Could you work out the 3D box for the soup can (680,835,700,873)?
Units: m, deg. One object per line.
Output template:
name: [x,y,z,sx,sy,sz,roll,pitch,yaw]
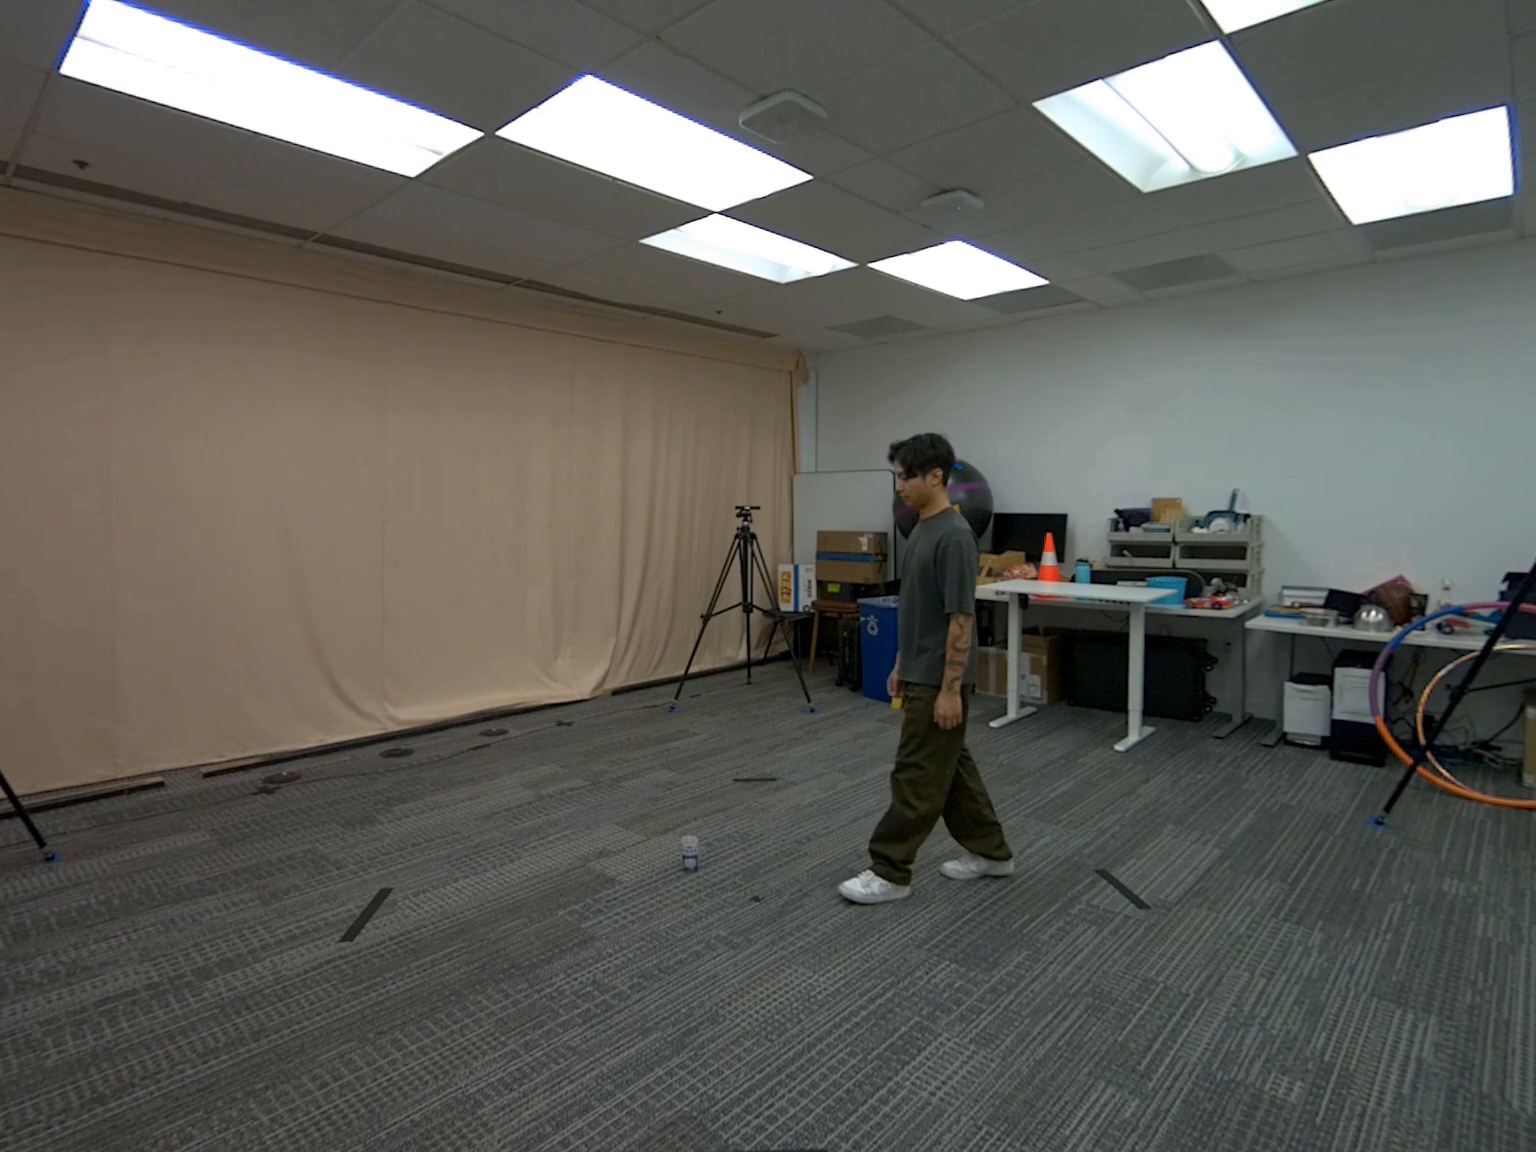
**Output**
soup can: [-0.295,1.070,3.229,0.067,0.121,0.067,2,3,-2]
